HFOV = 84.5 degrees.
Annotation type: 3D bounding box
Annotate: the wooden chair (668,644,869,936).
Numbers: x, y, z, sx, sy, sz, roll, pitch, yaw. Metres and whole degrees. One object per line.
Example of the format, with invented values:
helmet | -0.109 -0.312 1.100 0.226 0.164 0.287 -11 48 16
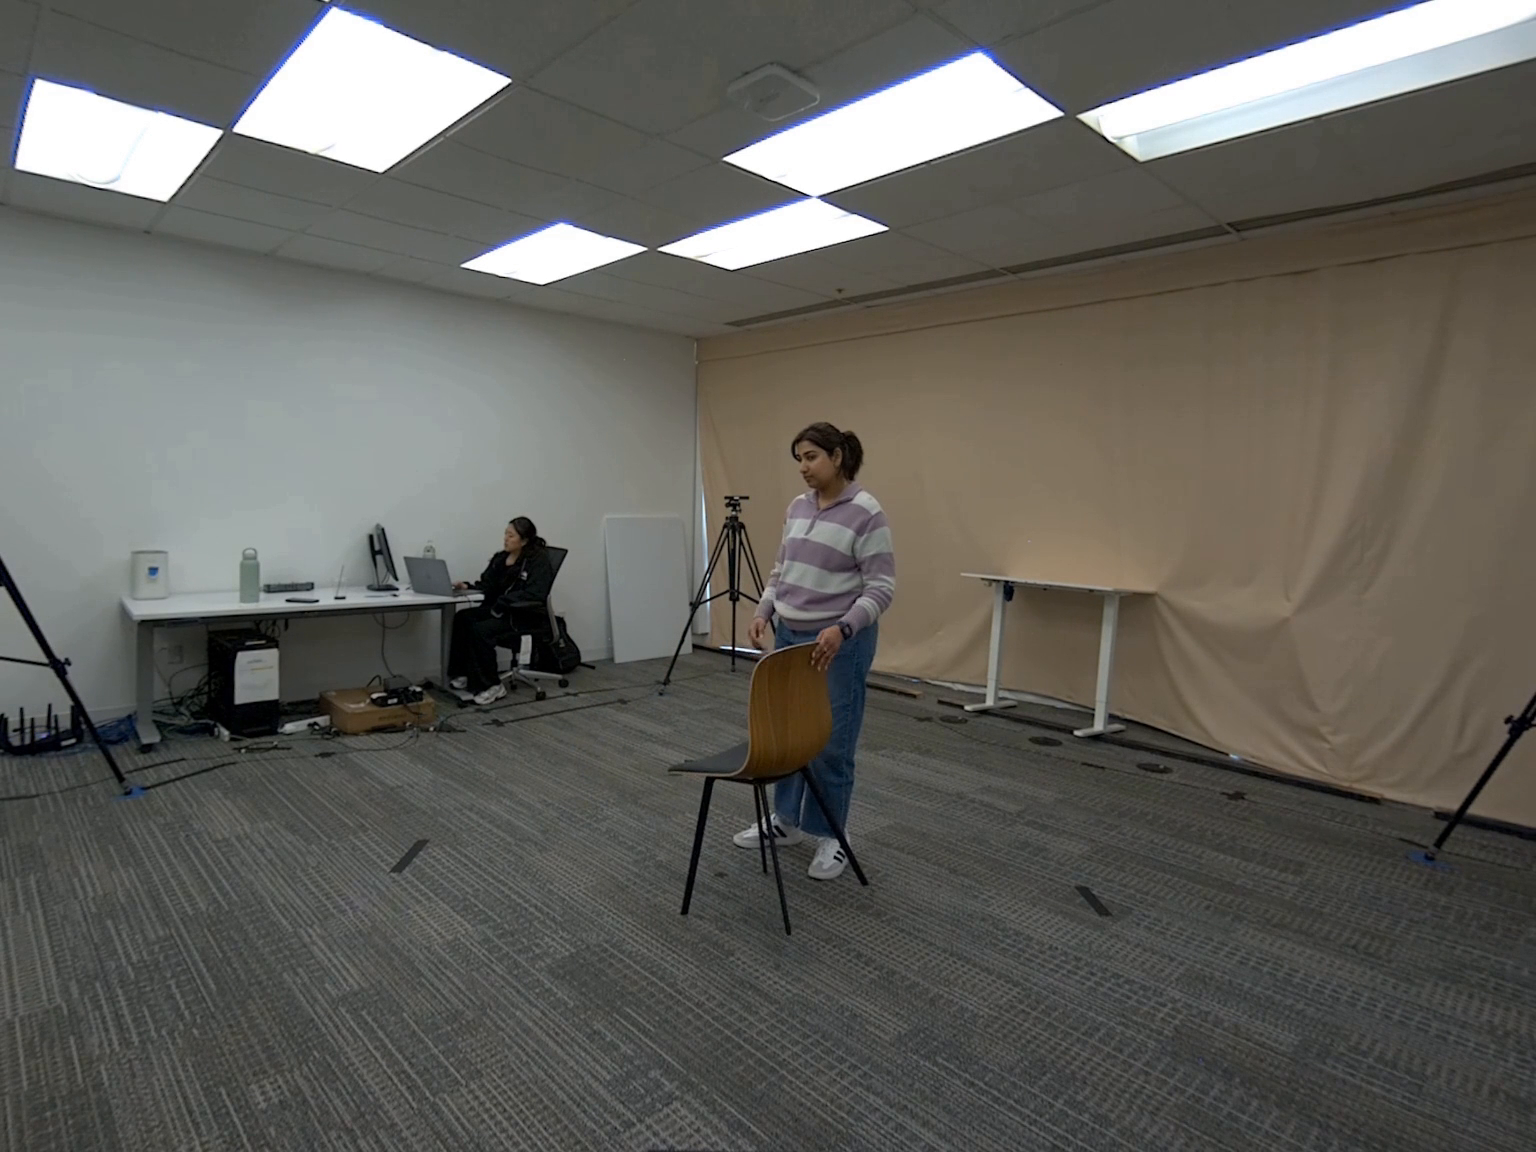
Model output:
wooden chair | -0.049 0.669 2.849 0.534 0.878 0.467 -5 -1 39
